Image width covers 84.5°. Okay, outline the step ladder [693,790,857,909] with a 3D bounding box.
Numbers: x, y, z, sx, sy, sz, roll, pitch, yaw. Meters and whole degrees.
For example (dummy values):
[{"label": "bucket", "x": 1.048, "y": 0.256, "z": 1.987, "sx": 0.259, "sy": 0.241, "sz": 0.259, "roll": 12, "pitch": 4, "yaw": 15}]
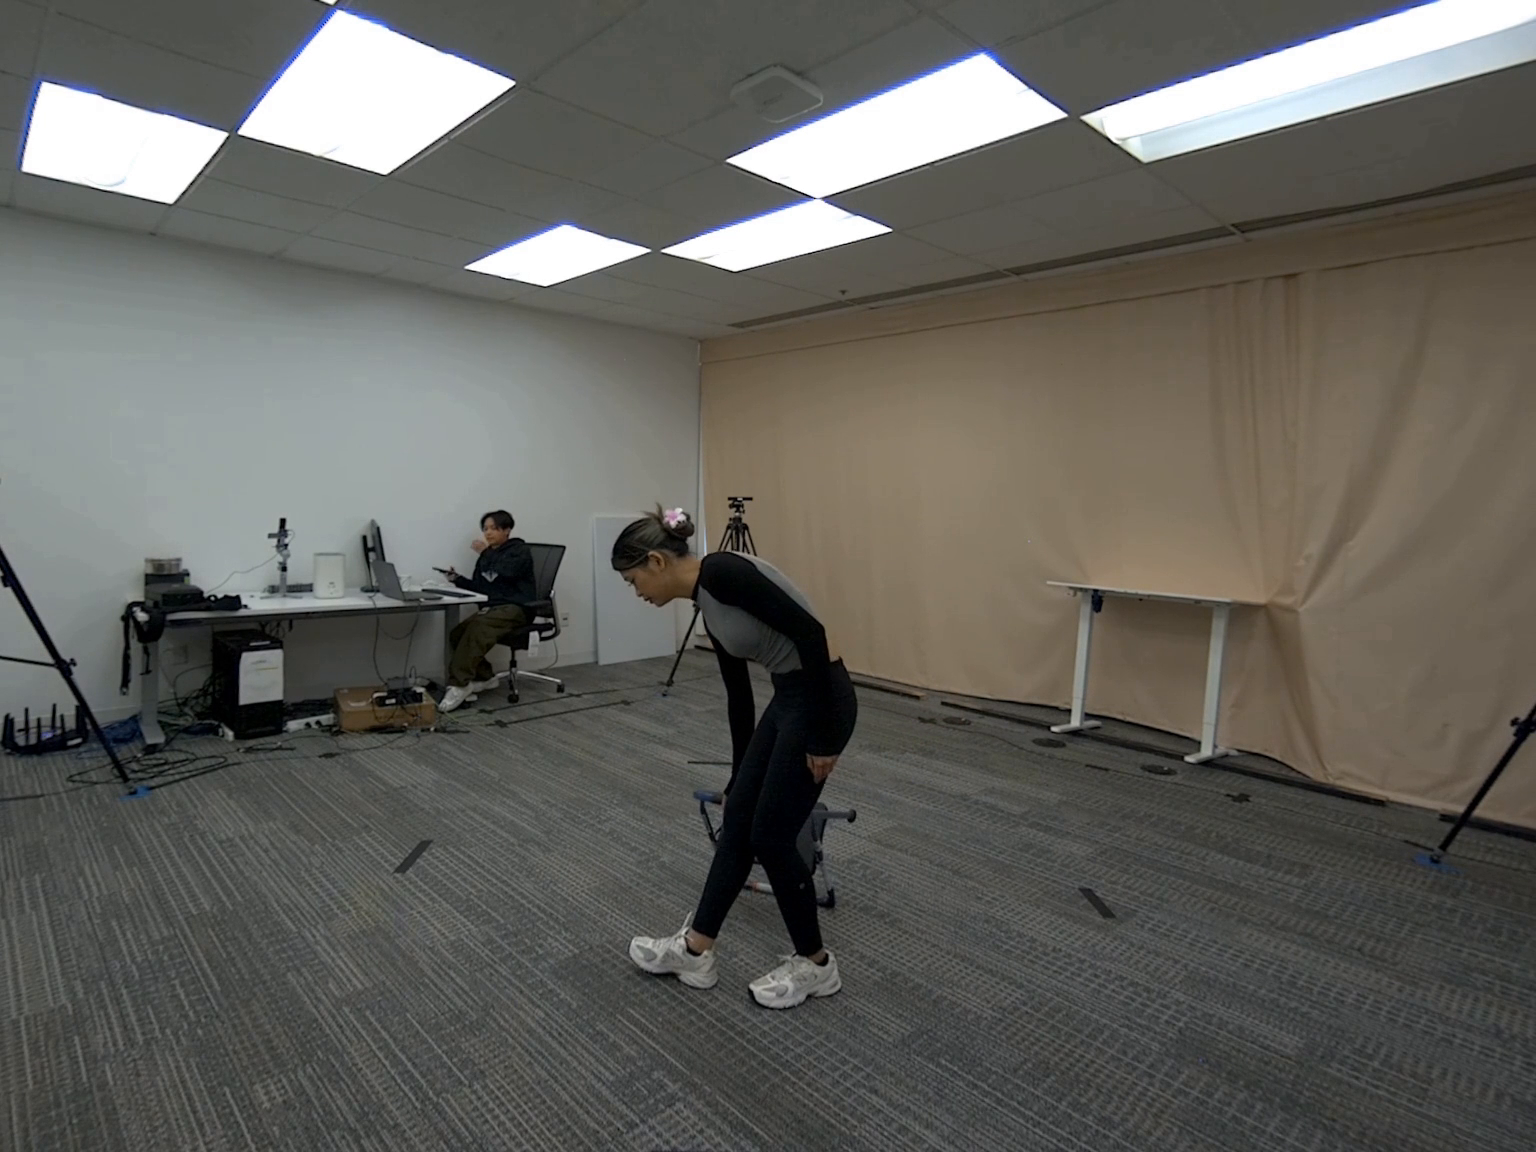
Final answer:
[{"label": "step ladder", "x": 0.001, "y": 0.818, "z": 2.841, "sx": 0.438, "sy": 0.353, "sz": 0.588, "roll": 3, "pitch": -36, "yaw": 22}]
